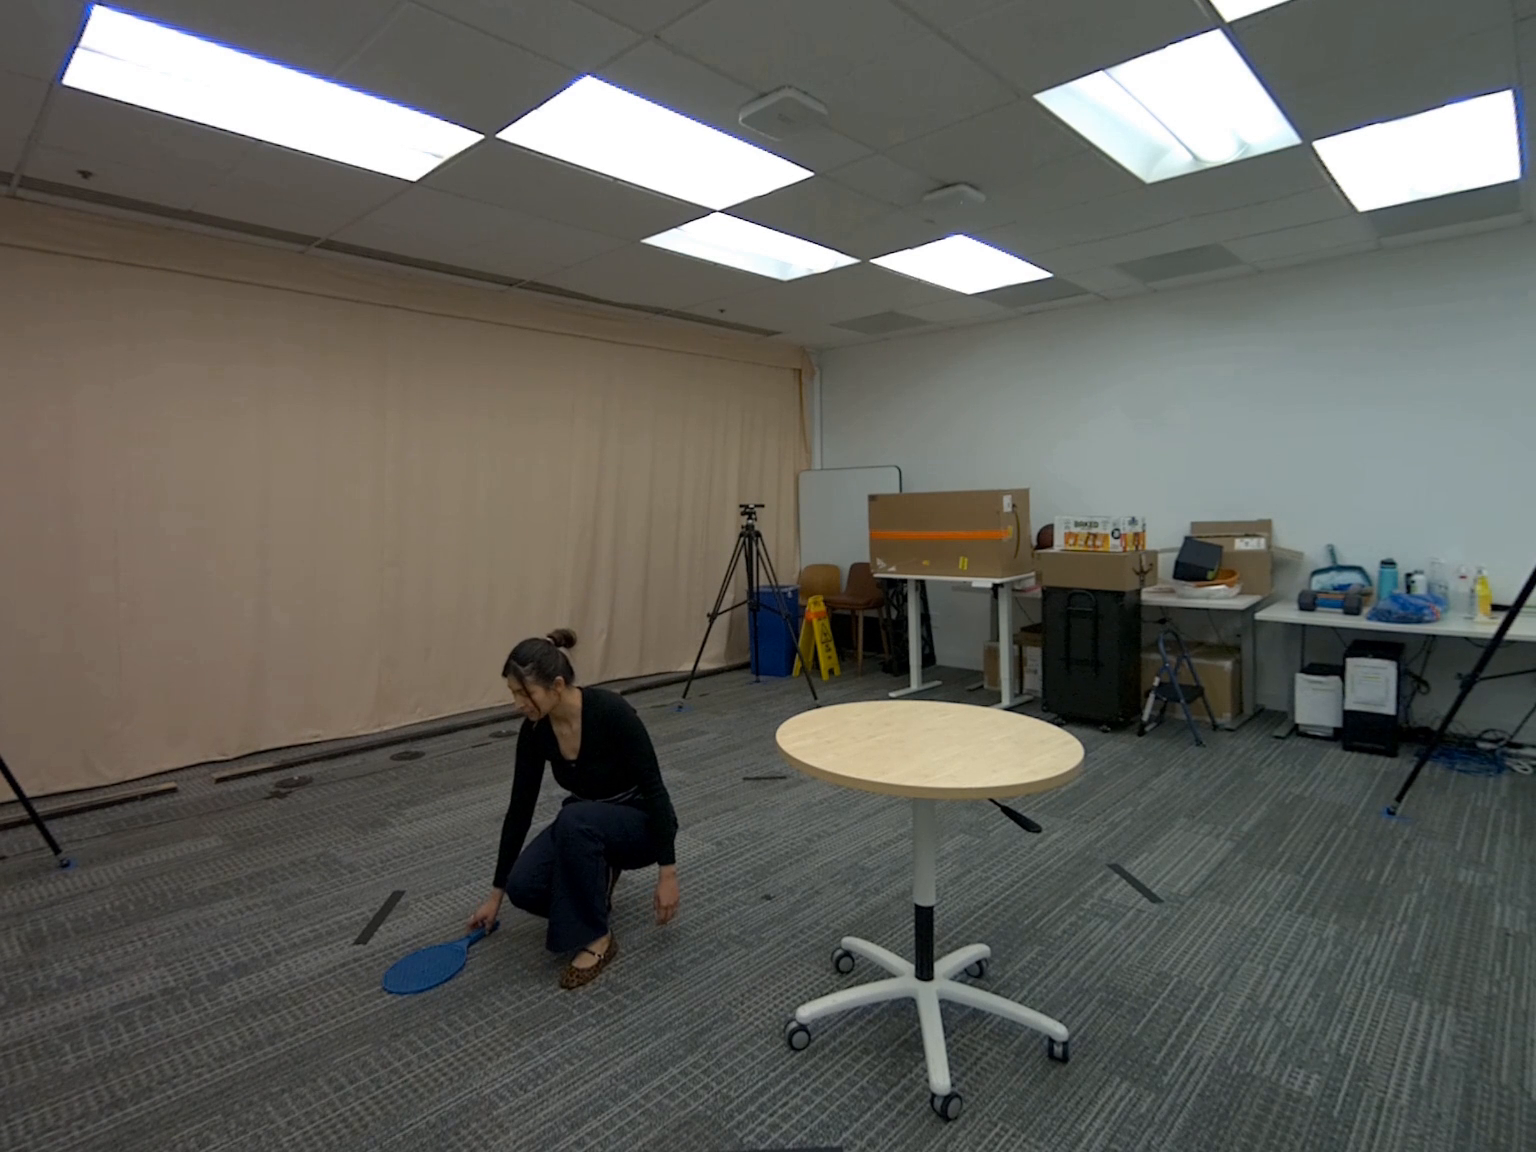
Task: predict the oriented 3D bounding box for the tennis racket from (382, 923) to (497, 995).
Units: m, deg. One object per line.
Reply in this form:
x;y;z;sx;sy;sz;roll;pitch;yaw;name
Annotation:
-1.007;1.182;2.628;0.219;0.032;0.423;-2;5;27;tennis racket
